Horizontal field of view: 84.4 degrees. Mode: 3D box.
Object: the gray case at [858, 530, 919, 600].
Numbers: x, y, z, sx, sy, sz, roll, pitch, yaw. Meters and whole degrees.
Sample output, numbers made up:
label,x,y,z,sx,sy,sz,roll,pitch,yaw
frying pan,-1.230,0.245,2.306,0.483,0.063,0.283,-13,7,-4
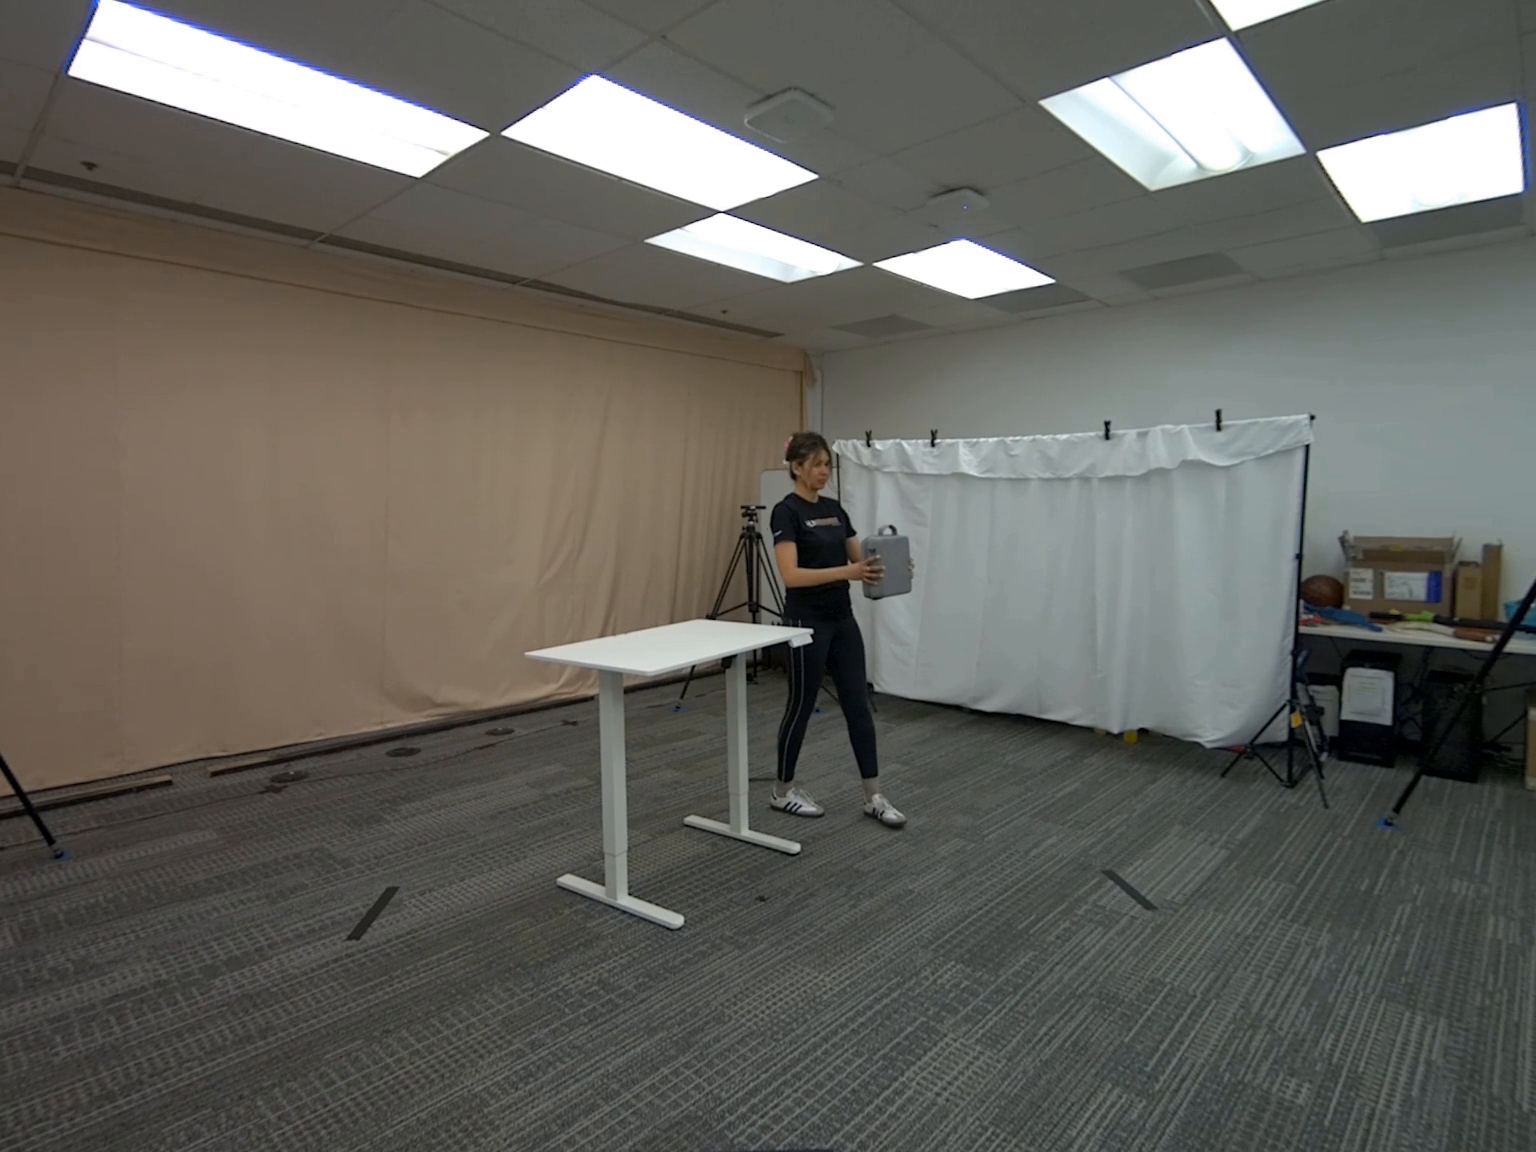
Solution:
label,x,y,z,sx,sy,sz,roll,pitch,yaw
gray case,0.498,-0.050,3.492,0.107,0.260,0.249,-3,3,42
